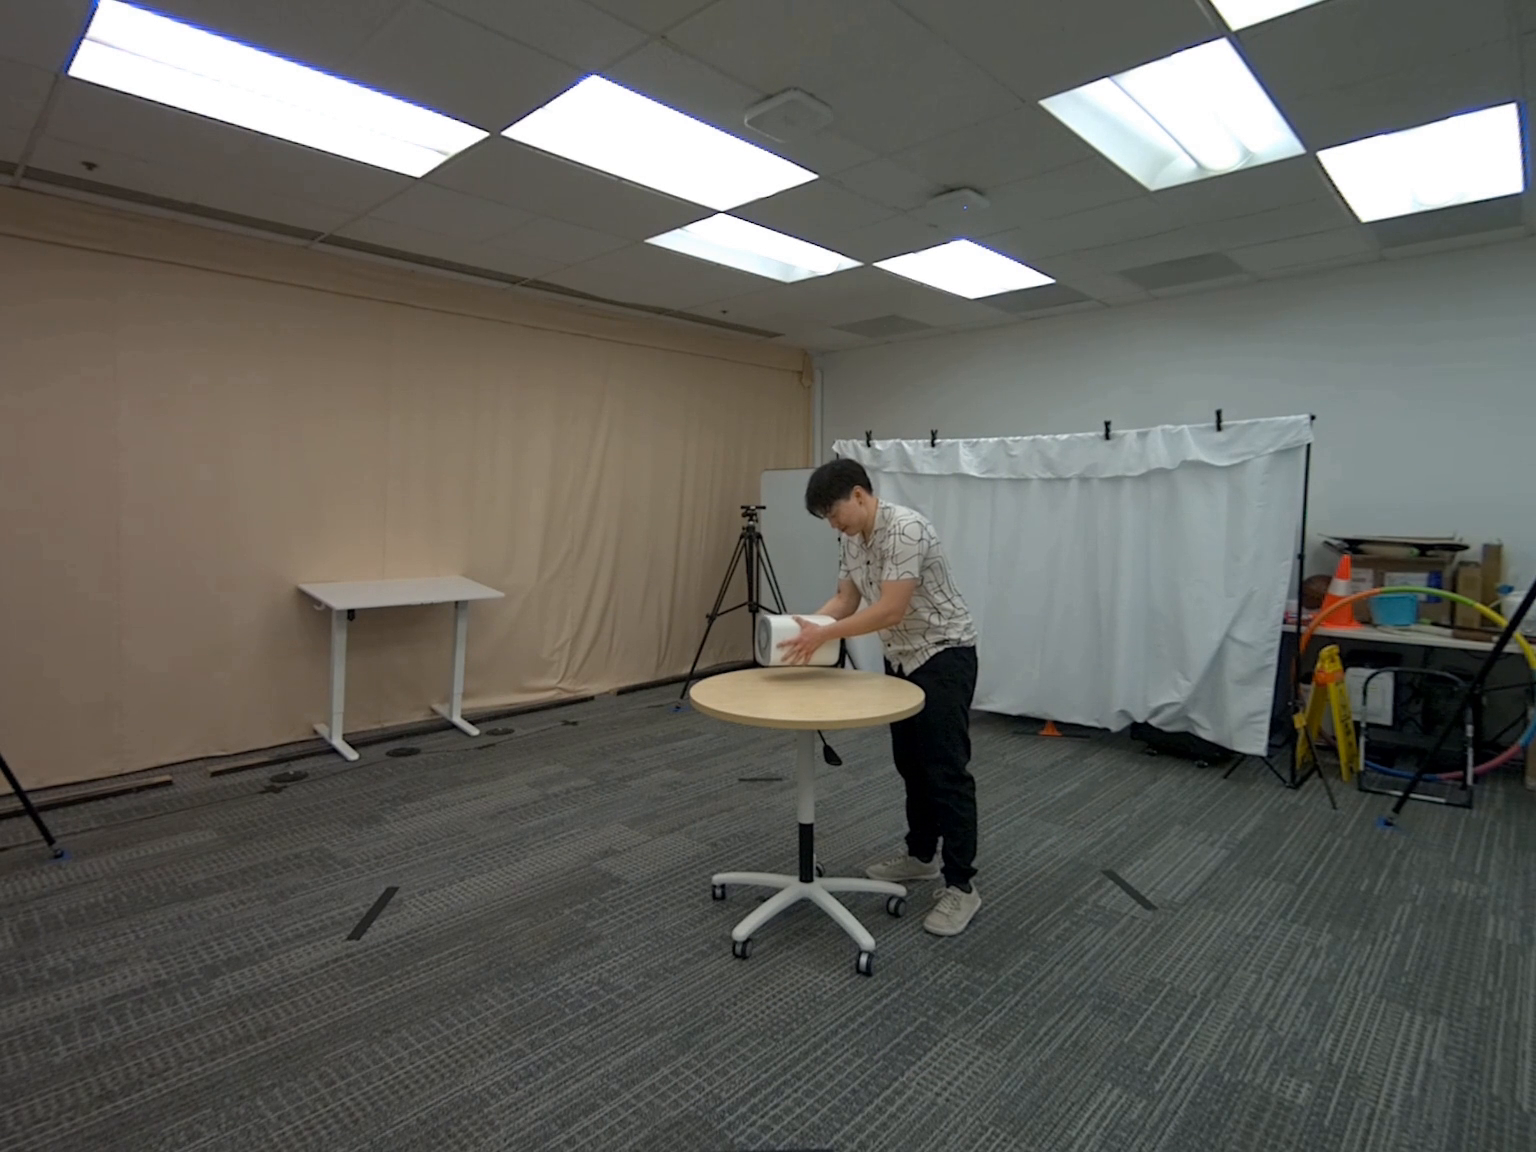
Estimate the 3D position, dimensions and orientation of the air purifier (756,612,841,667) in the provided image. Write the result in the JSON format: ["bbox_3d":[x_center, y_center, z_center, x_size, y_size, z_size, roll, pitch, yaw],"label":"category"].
[{"bbox_3d":[0.113,0.231,2.957,0.262,0.171,0.173,3,1,-10],"label":"air purifier"}]
